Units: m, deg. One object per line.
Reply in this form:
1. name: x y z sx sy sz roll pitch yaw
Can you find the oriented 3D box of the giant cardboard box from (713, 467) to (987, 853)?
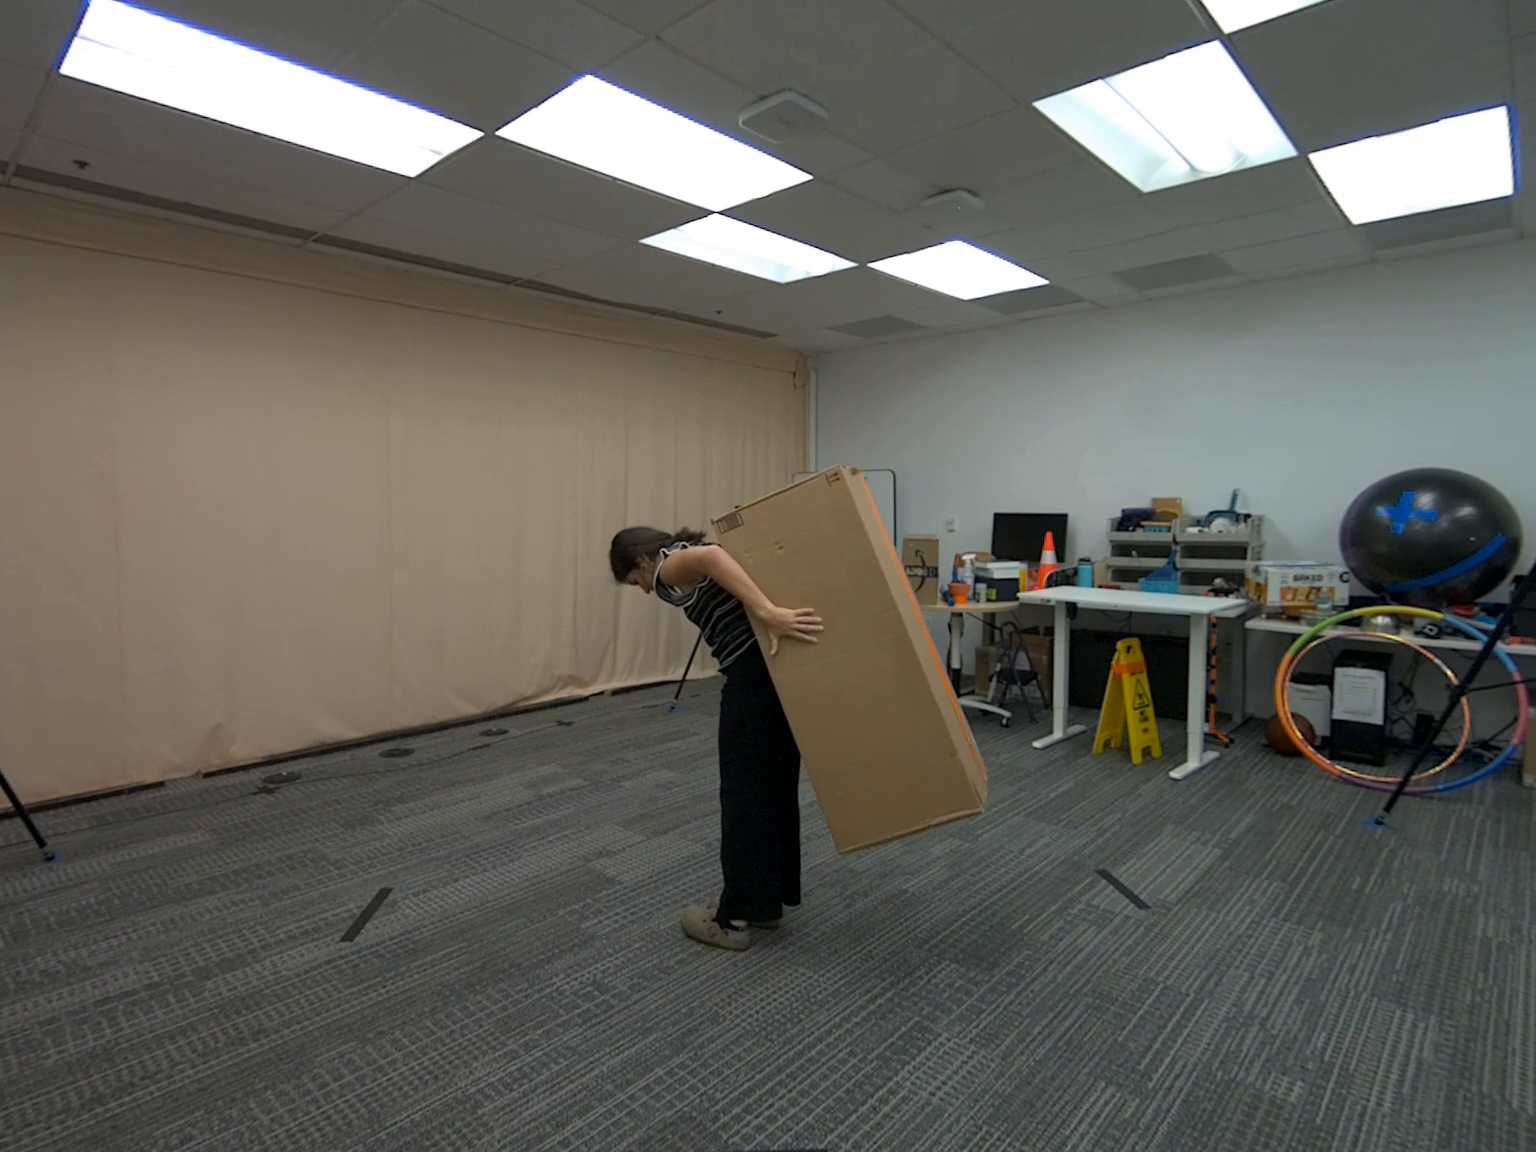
1. giant cardboard box: 0.276 0.227 2.629 0.431 1.033 0.567 -24 -7 15
